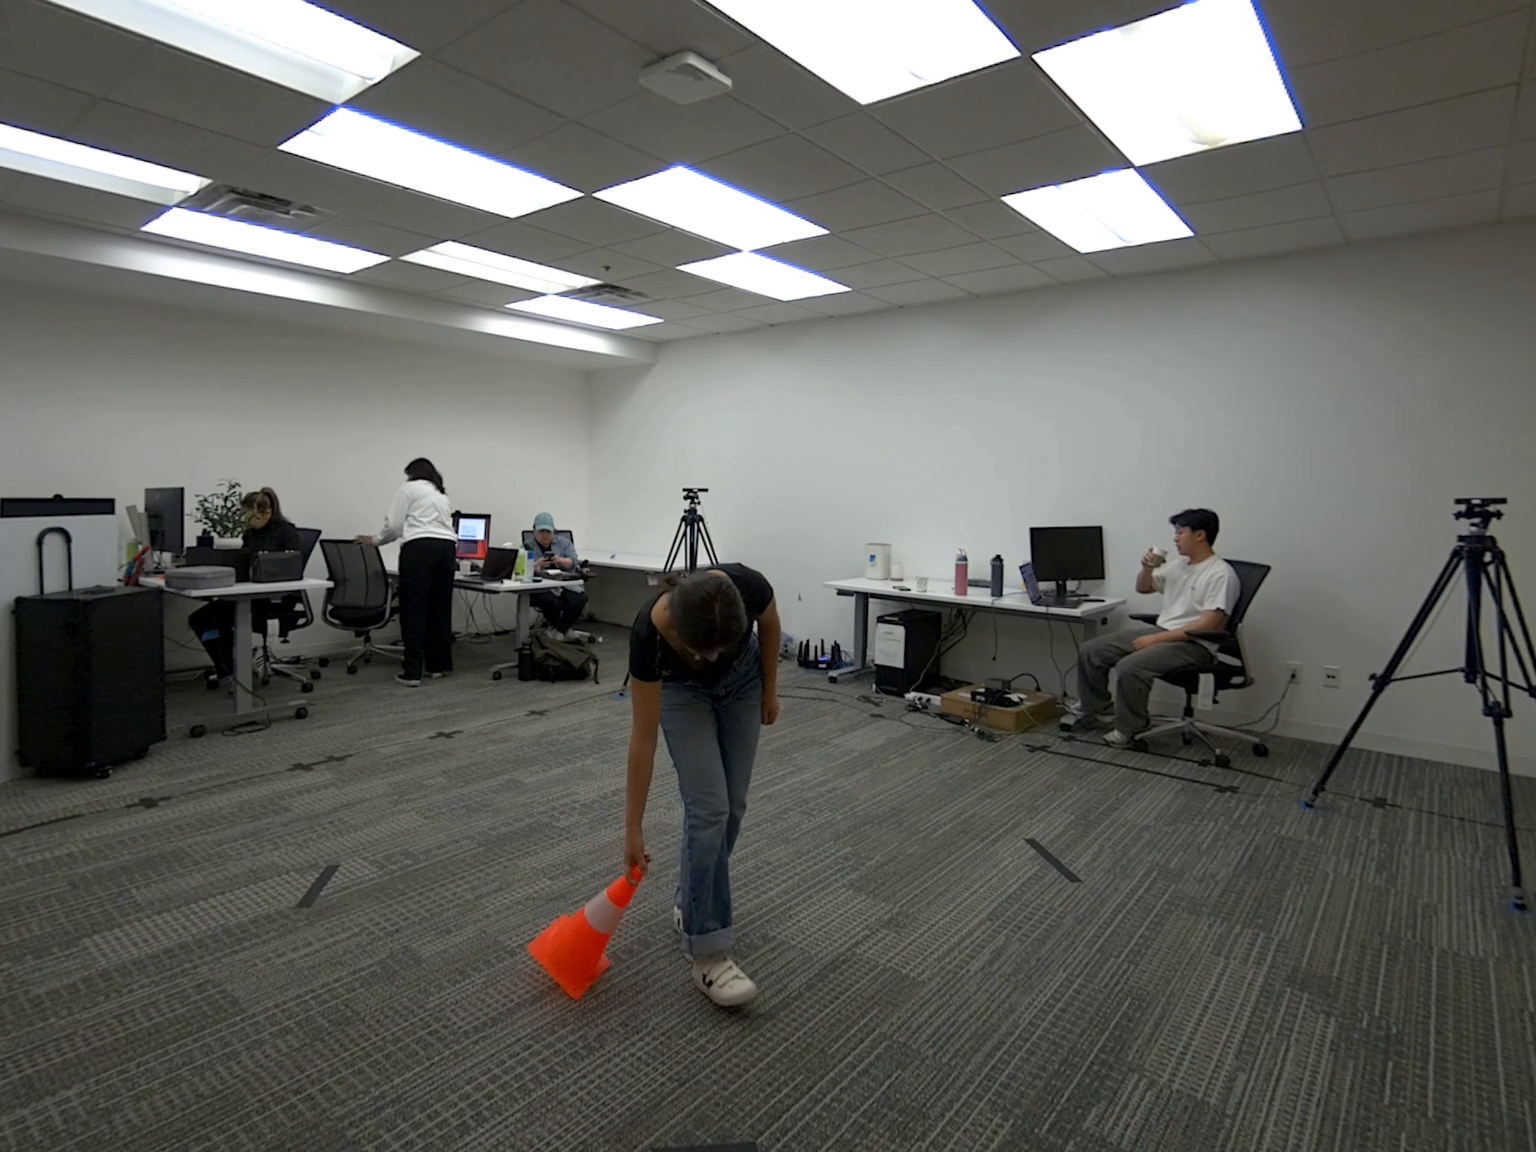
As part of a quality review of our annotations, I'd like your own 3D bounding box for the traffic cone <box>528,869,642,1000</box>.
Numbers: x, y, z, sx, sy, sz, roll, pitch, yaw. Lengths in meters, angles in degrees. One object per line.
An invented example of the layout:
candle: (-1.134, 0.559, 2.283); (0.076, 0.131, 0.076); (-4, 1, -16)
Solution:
traffic cone: (-0.459, 0.931, 2.360); (0.206, 0.382, 0.203); (34, 16, 2)
